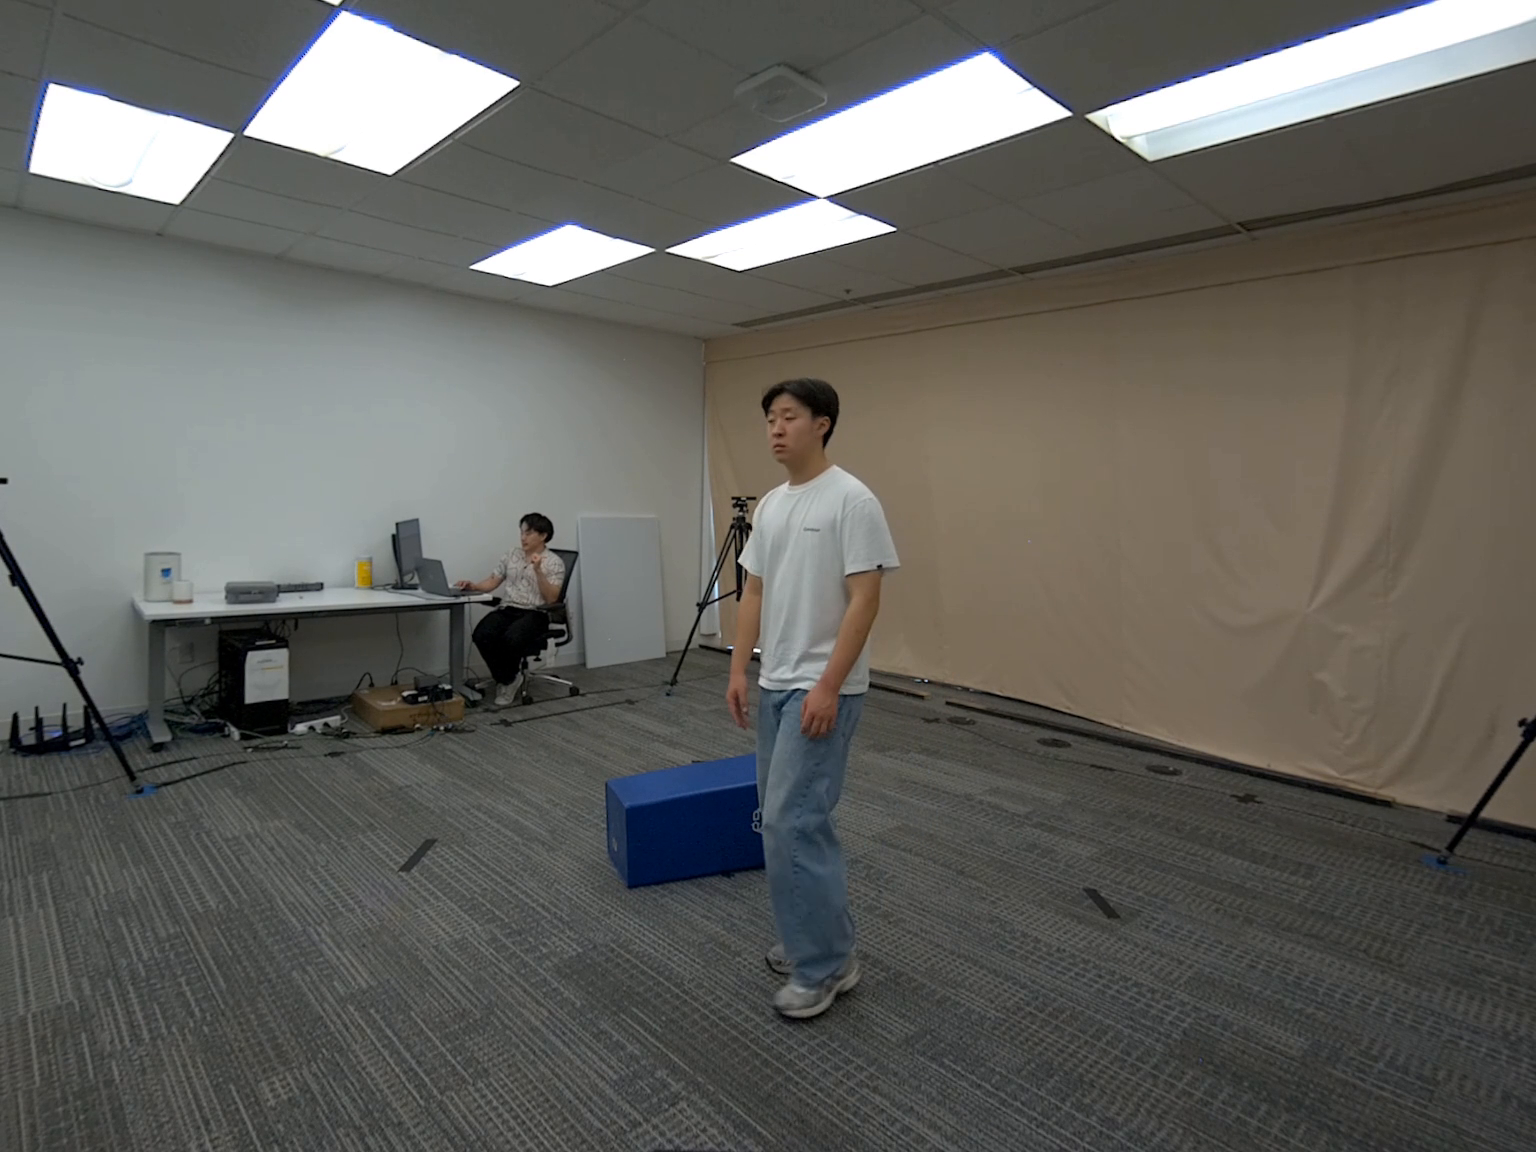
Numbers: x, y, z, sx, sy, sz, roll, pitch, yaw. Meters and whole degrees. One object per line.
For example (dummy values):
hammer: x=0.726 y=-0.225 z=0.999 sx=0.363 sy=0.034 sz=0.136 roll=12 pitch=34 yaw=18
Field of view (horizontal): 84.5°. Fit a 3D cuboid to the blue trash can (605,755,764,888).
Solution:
blue trash can: x=-0.241 y=0.930 z=3.227 sx=0.702 sy=0.377 sz=0.381 roll=-4 pitch=6 yaw=-23
